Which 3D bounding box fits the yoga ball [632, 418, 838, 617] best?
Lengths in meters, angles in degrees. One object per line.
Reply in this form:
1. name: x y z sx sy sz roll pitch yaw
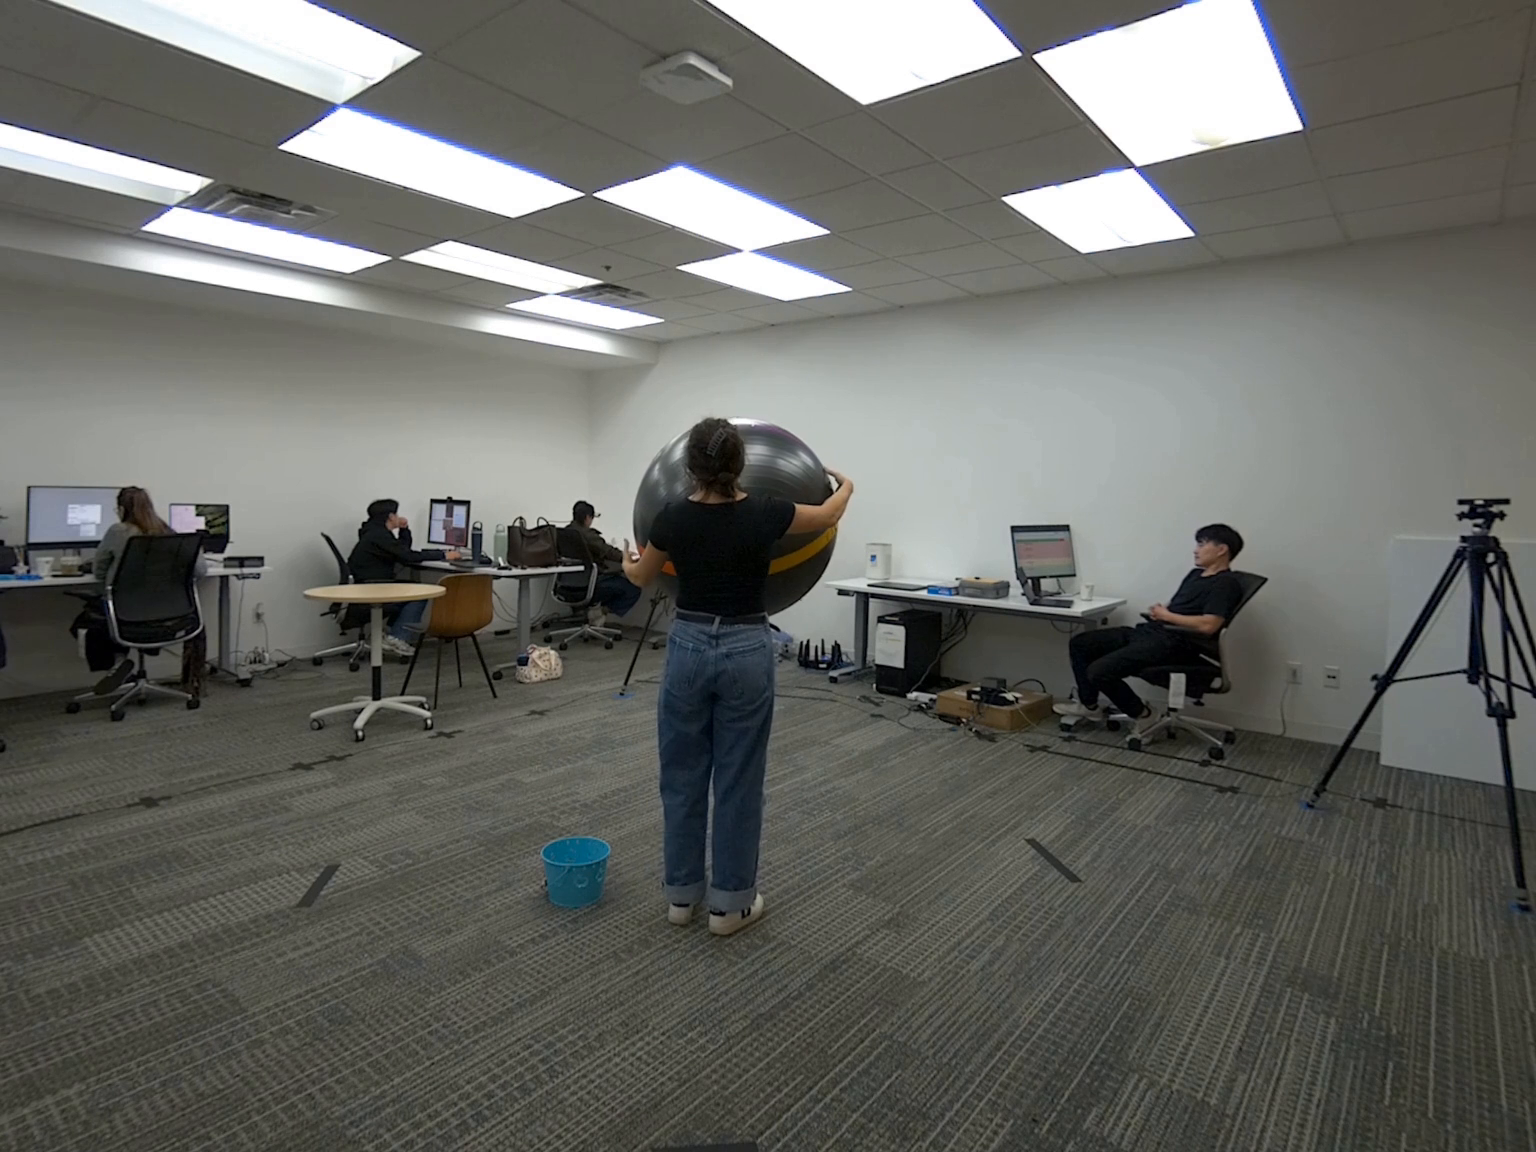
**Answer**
1. yoga ball: -0.133 -0.205 3.176 0.757 0.755 0.762 1 4 -2
